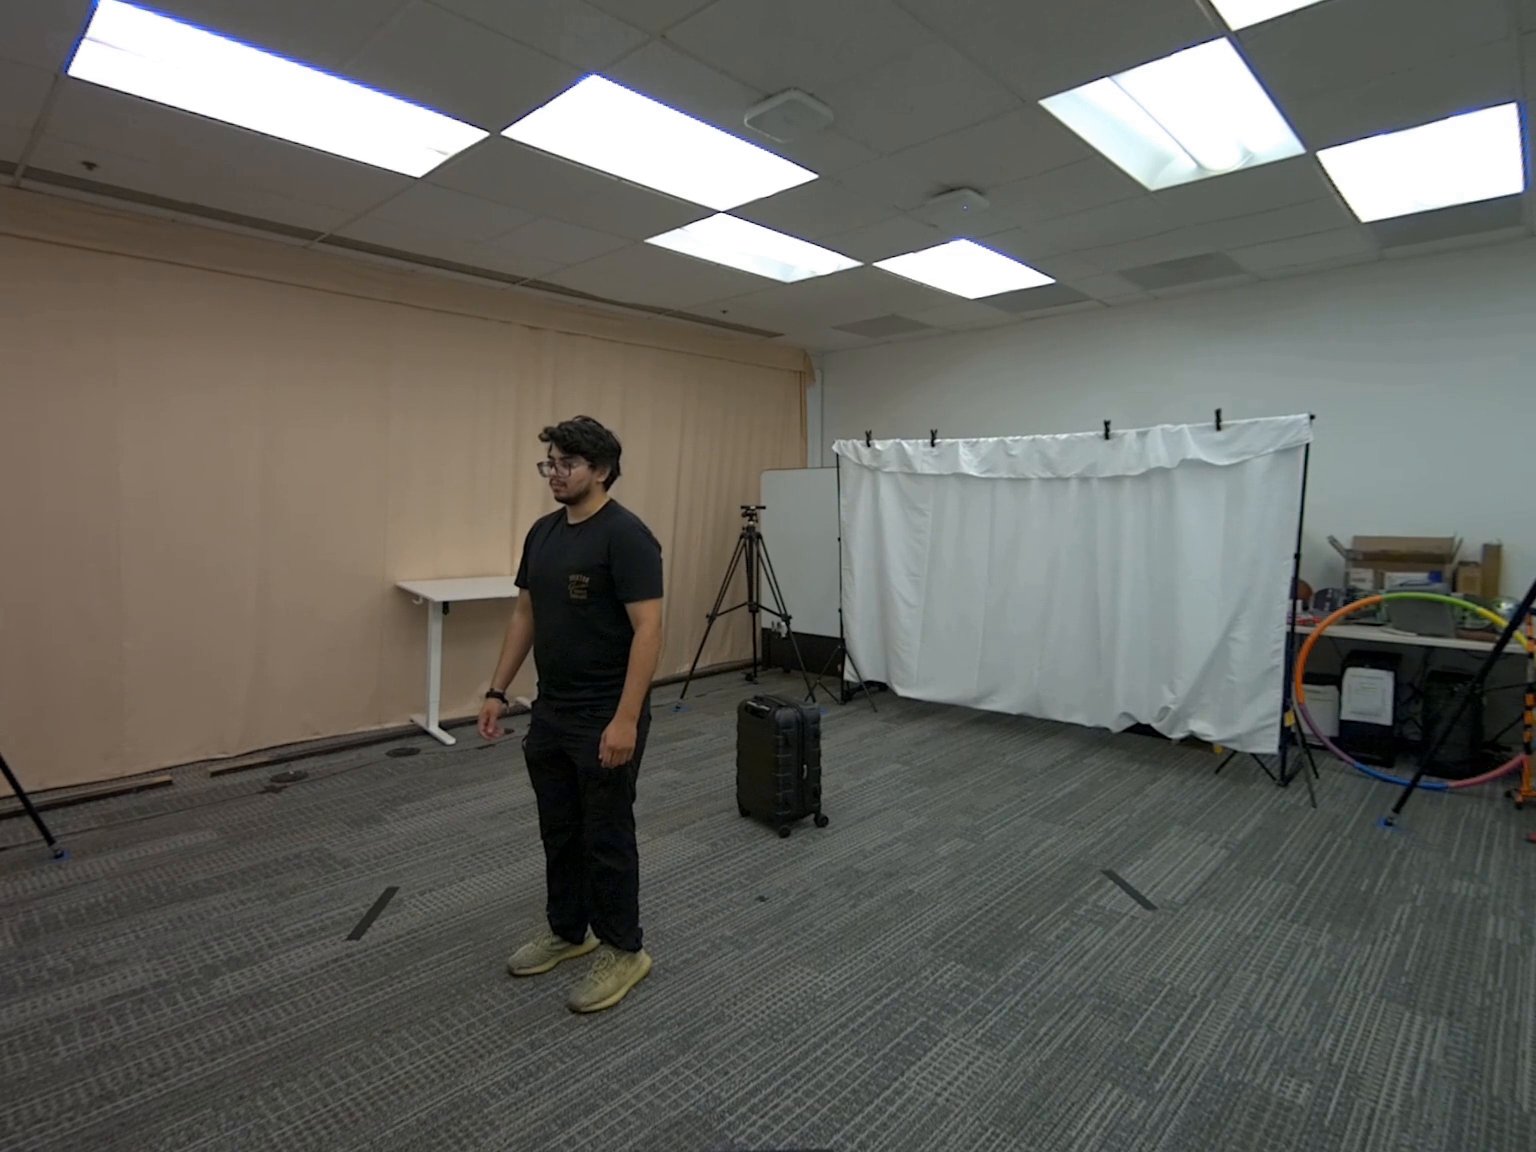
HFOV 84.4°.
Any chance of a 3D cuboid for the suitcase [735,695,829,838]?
[{"bbox_3d":[0.052,0.809,3.710,0.241,0.548,0.387,-3,5,-35],"label":"suitcase"}]
